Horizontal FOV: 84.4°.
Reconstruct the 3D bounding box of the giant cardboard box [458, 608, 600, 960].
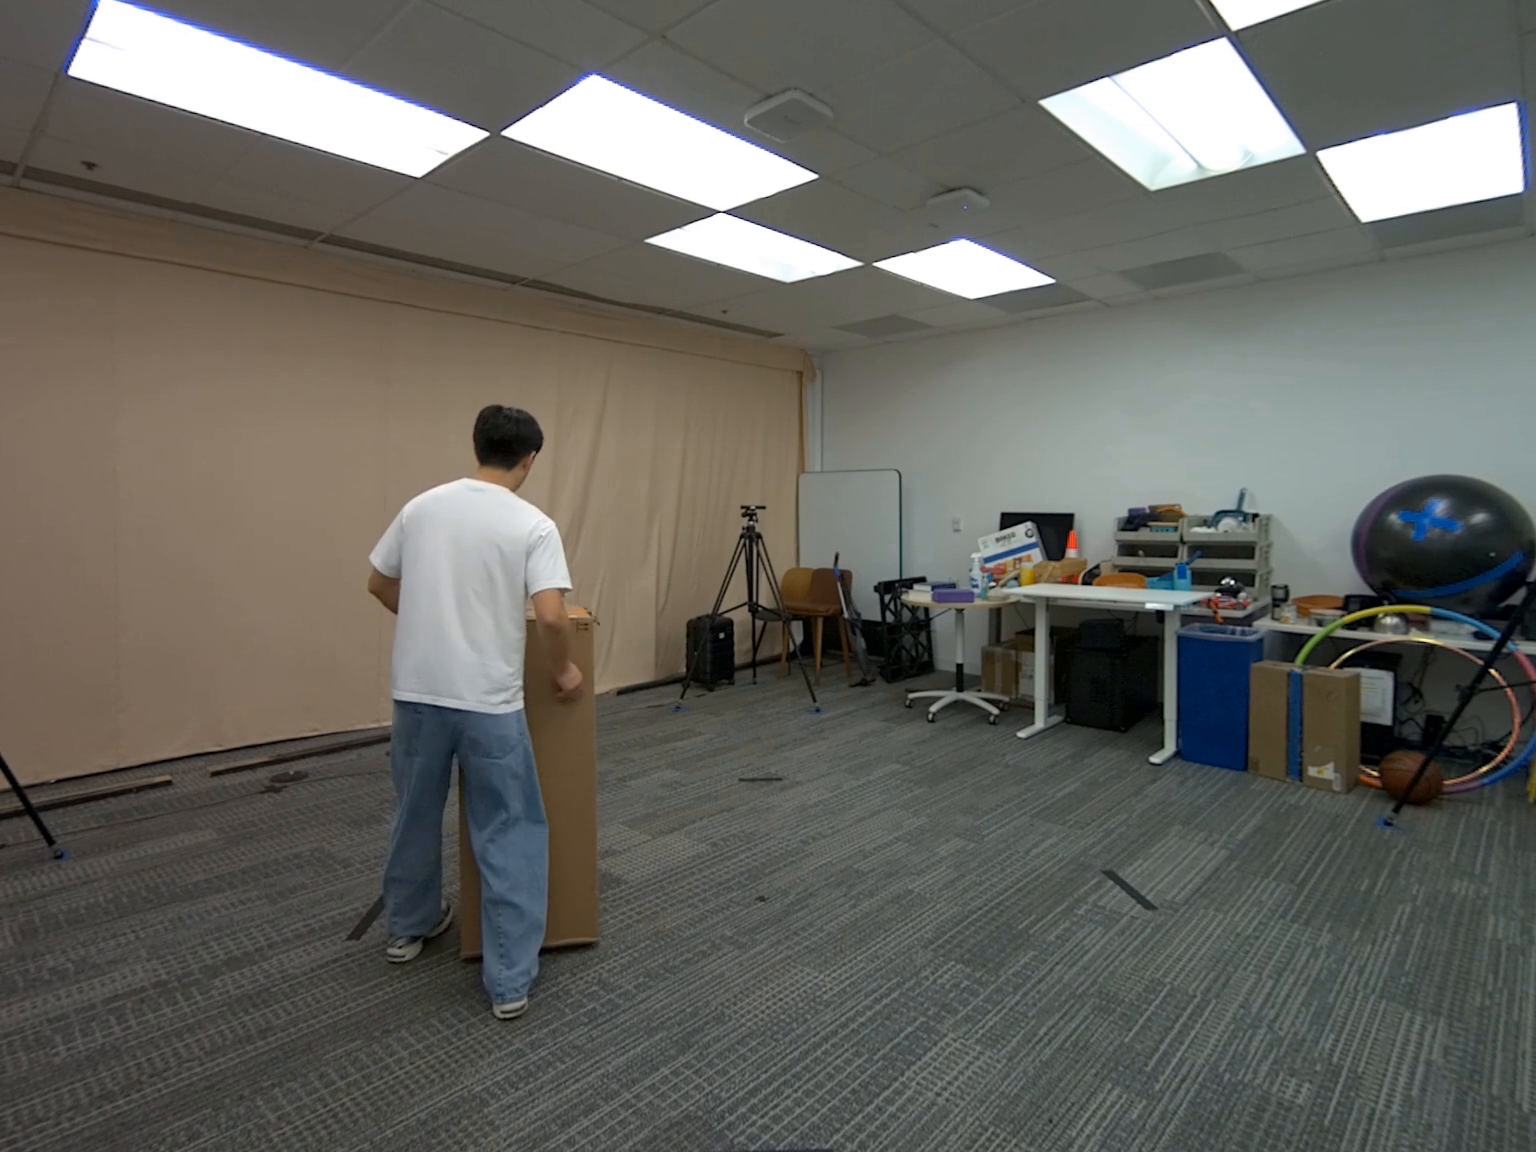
[{"bbox_3d":[-0.824,0.642,2.877,0.419,1.026,0.587,-1,0,-18],"label":"giant cardboard box"}]
